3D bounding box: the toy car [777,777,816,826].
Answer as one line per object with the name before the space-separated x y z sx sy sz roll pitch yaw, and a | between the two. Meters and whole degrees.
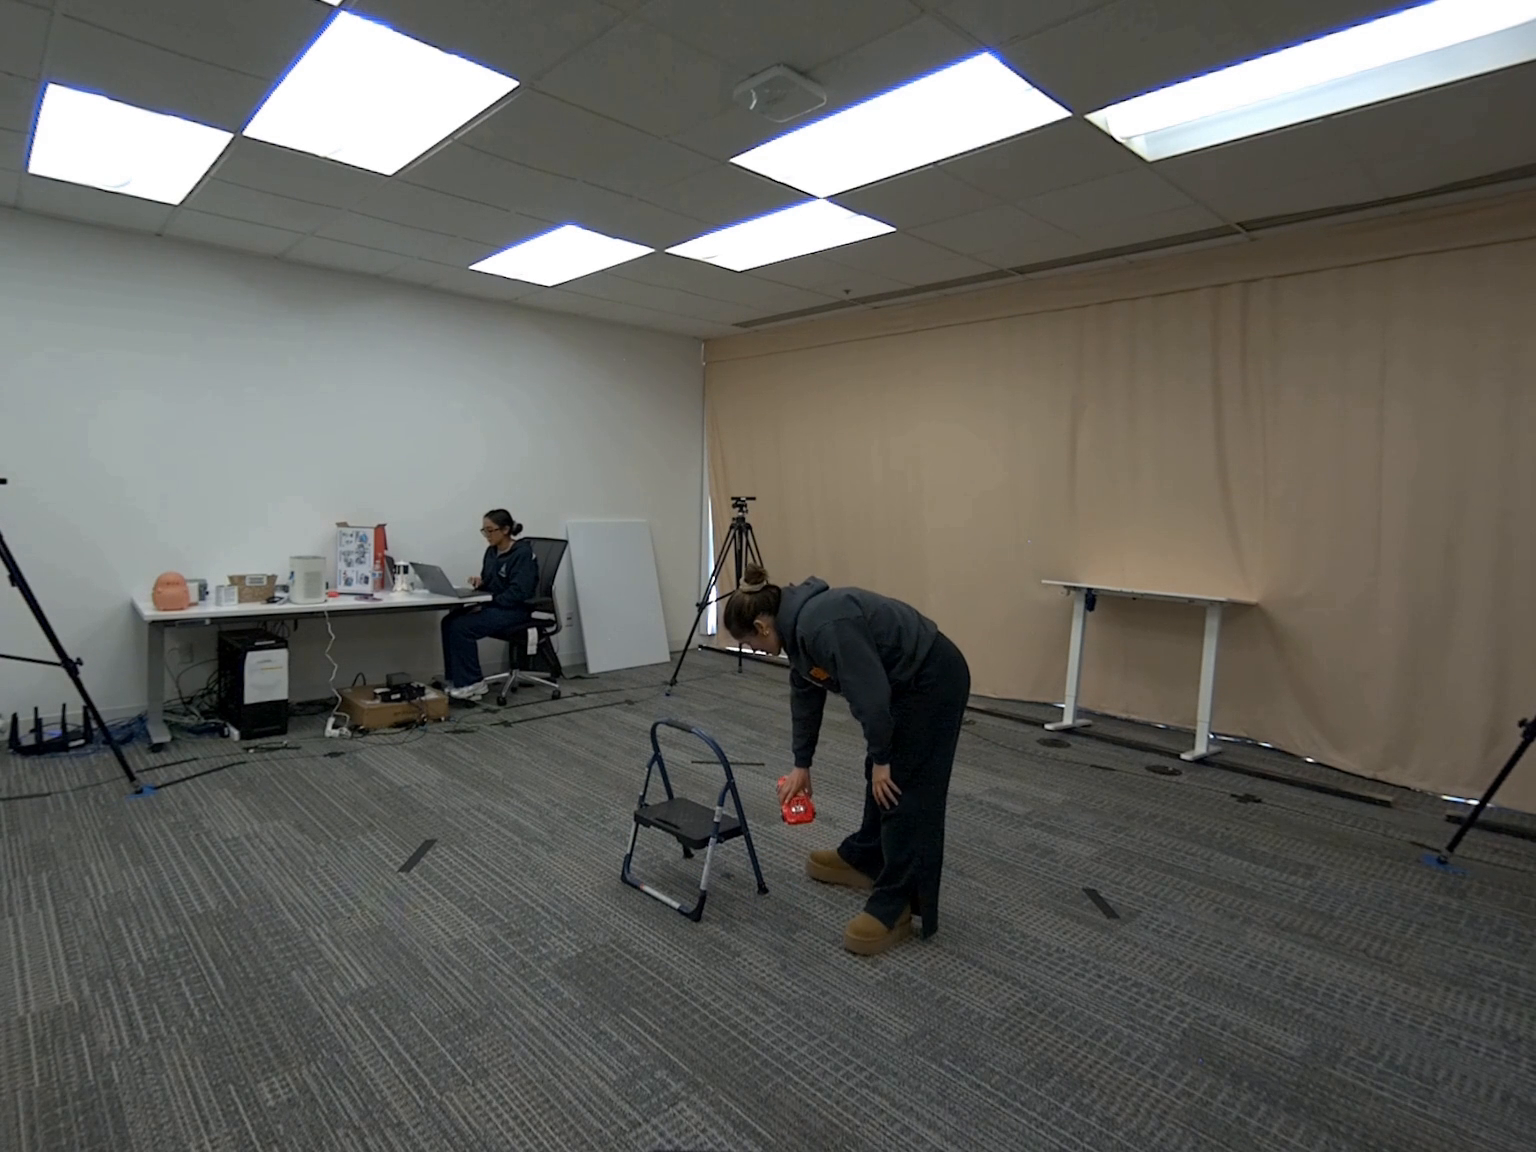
toy car | 0.092 0.802 2.985 0.130 0.082 0.256 -6 10 0
